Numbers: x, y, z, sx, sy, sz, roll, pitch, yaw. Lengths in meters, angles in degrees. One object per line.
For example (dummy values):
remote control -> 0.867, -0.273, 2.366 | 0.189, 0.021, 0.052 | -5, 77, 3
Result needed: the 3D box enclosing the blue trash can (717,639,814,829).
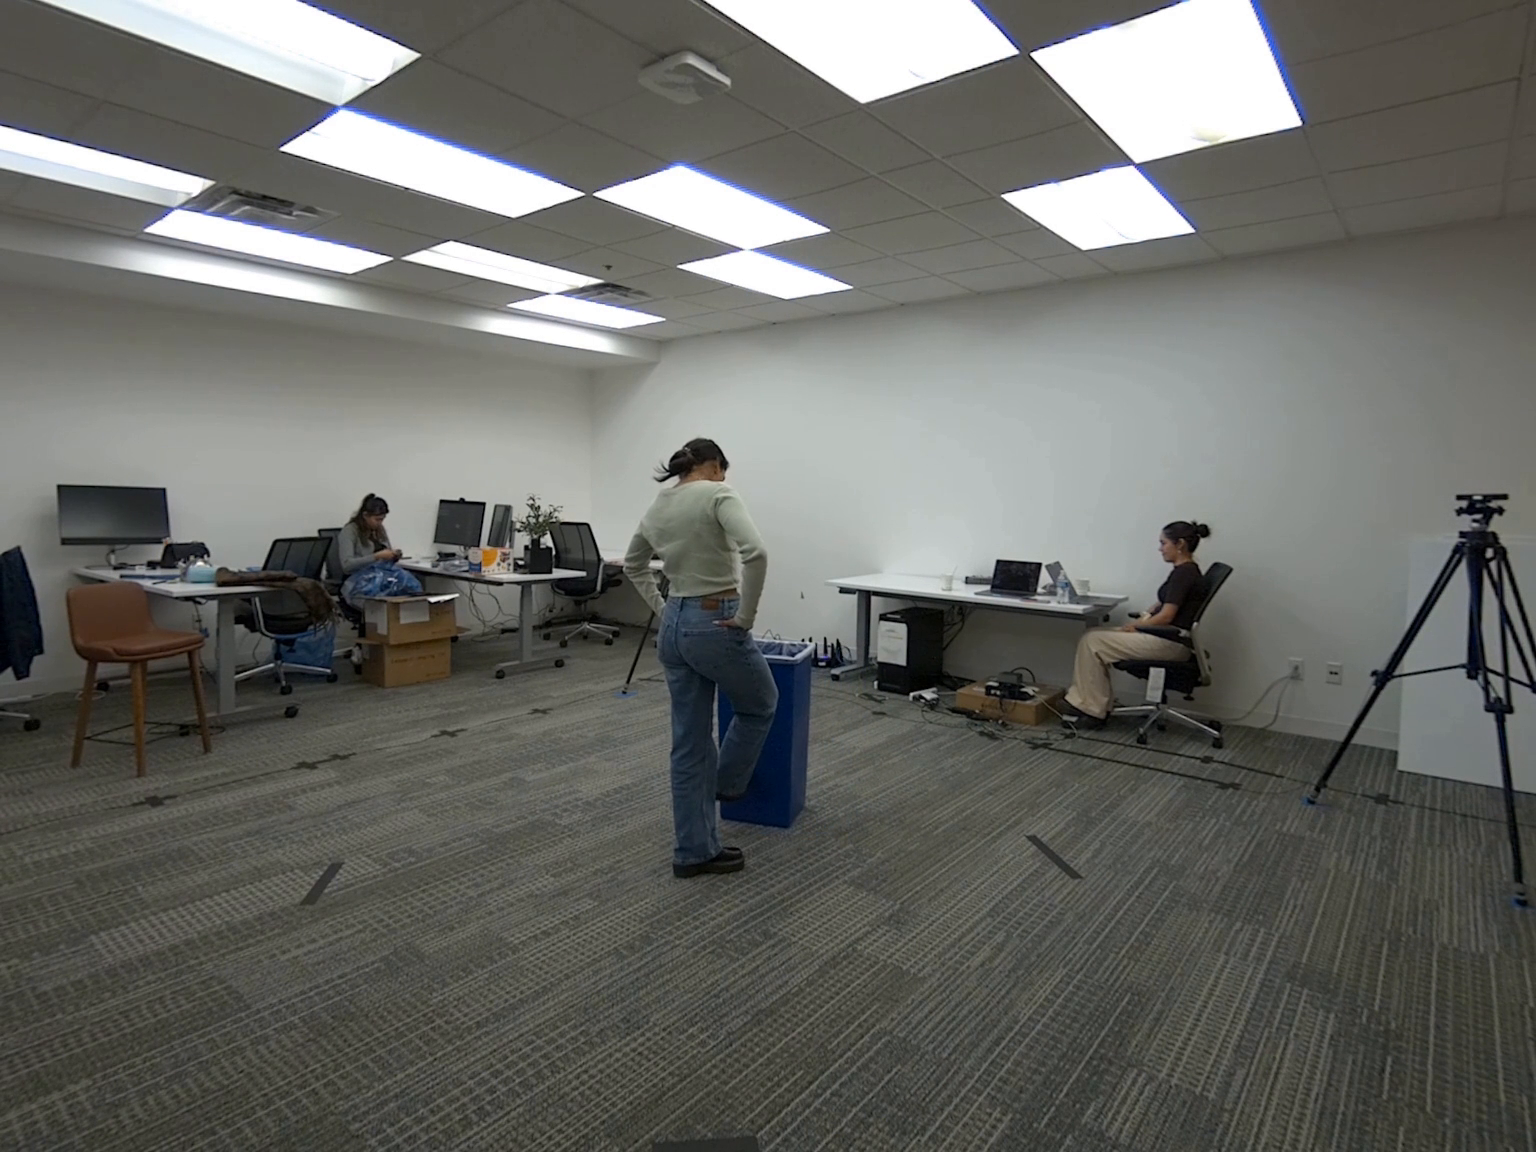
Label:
blue trash can -> -0.030, 0.655, 3.652 | 0.381, 0.711, 0.372 | 2, 4, 18
